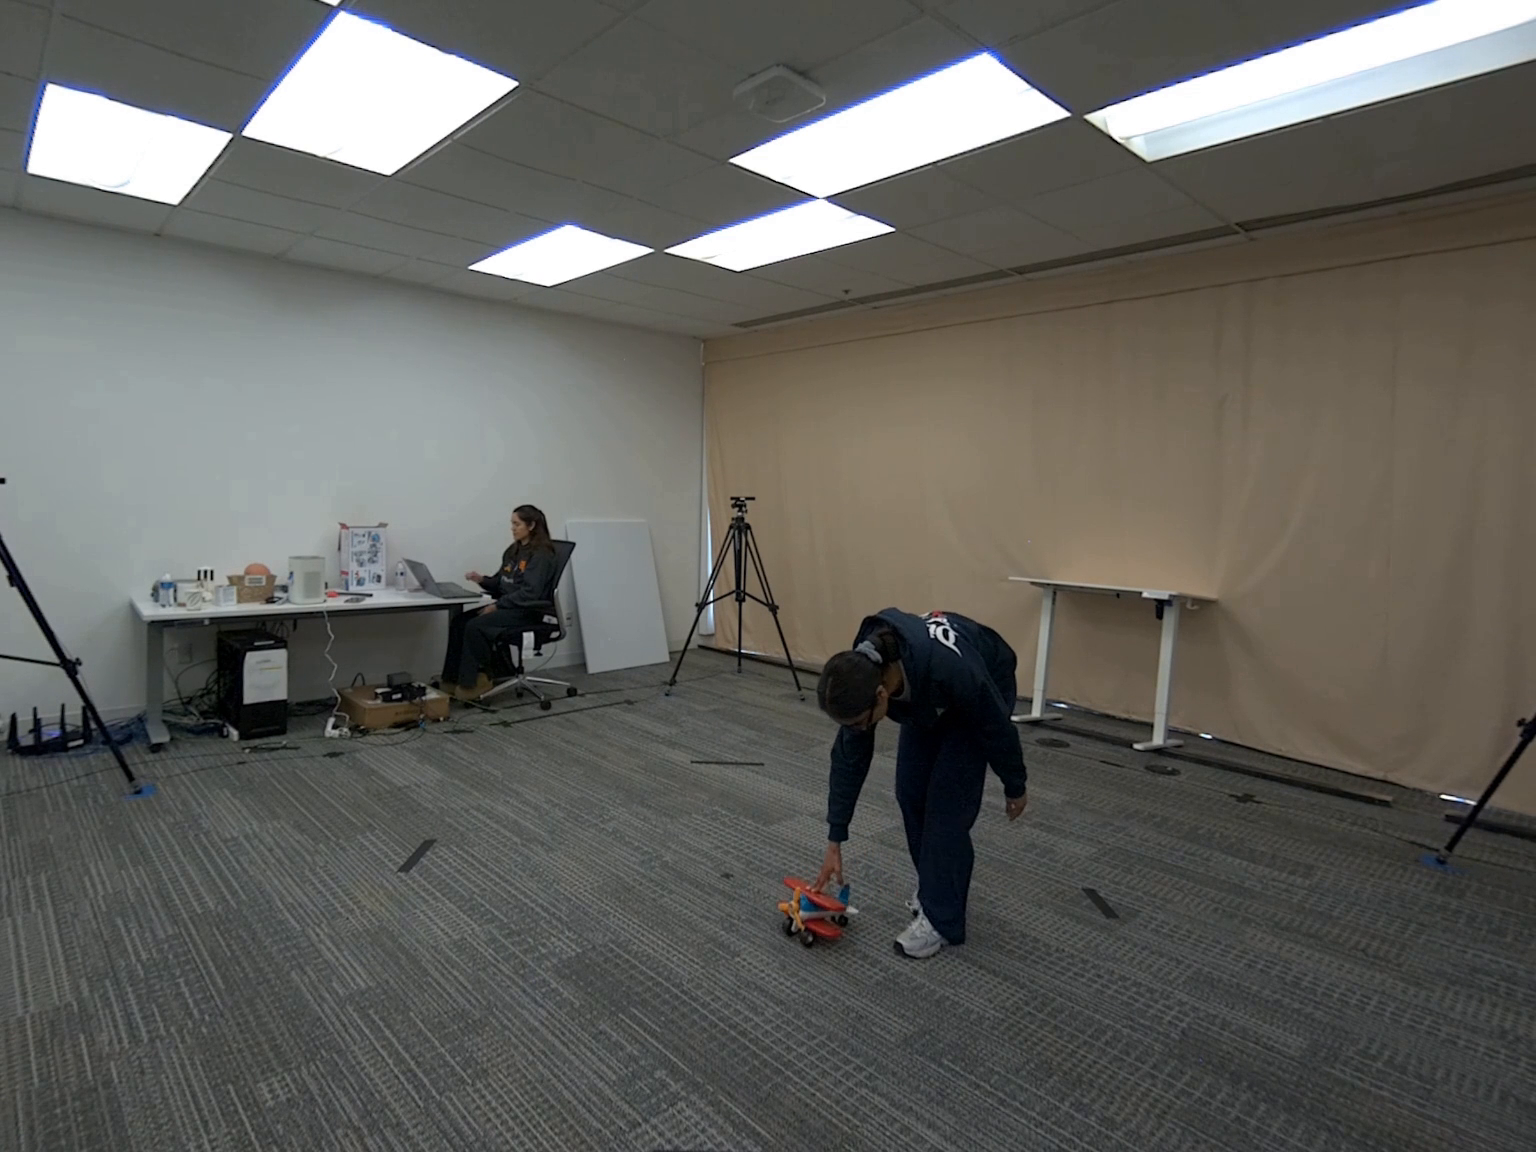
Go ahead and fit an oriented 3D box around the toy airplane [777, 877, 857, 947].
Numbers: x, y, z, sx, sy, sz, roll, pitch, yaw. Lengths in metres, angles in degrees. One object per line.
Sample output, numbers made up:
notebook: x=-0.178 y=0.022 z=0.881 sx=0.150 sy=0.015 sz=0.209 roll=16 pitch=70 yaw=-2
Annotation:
toy airplane: x=0.153 y=1.071 z=2.724 sx=0.255 sy=0.156 sz=0.256 roll=3 pitch=7 yaw=22
